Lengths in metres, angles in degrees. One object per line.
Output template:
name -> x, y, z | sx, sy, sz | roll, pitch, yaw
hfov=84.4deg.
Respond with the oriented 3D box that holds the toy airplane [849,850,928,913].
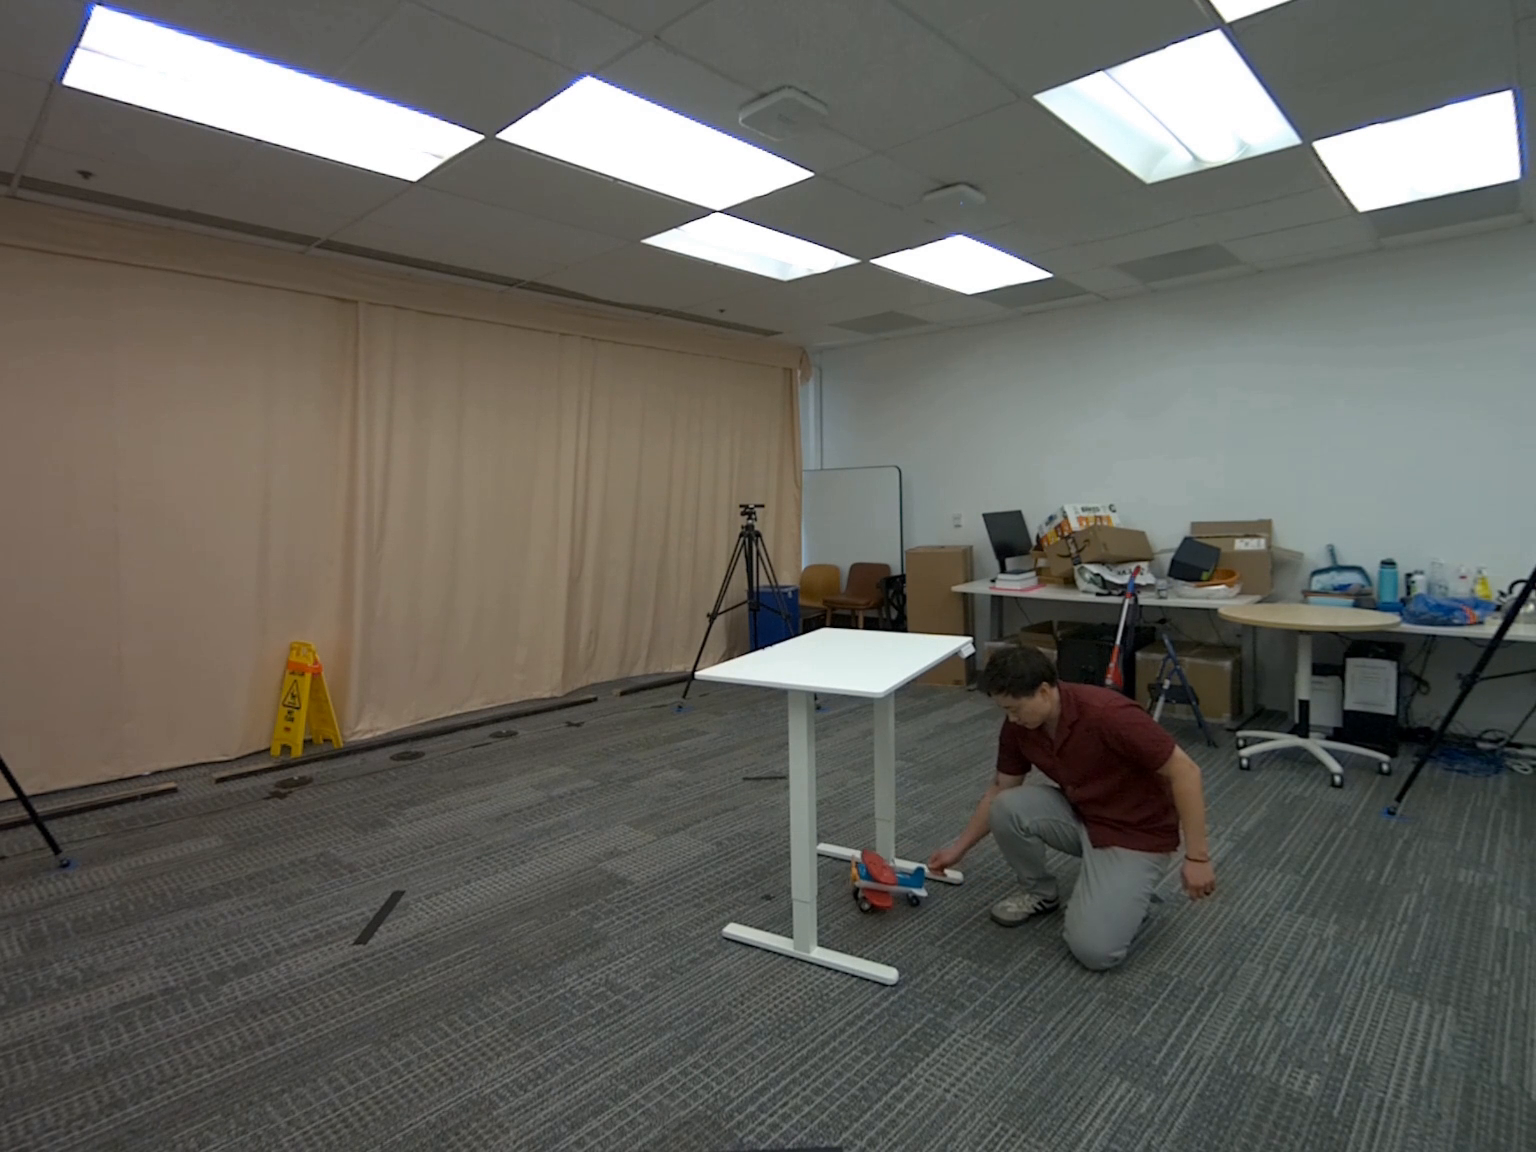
toy airplane -> 0.416, 1.065, 2.923 | 0.252, 0.156, 0.258 | -5, 5, -32
